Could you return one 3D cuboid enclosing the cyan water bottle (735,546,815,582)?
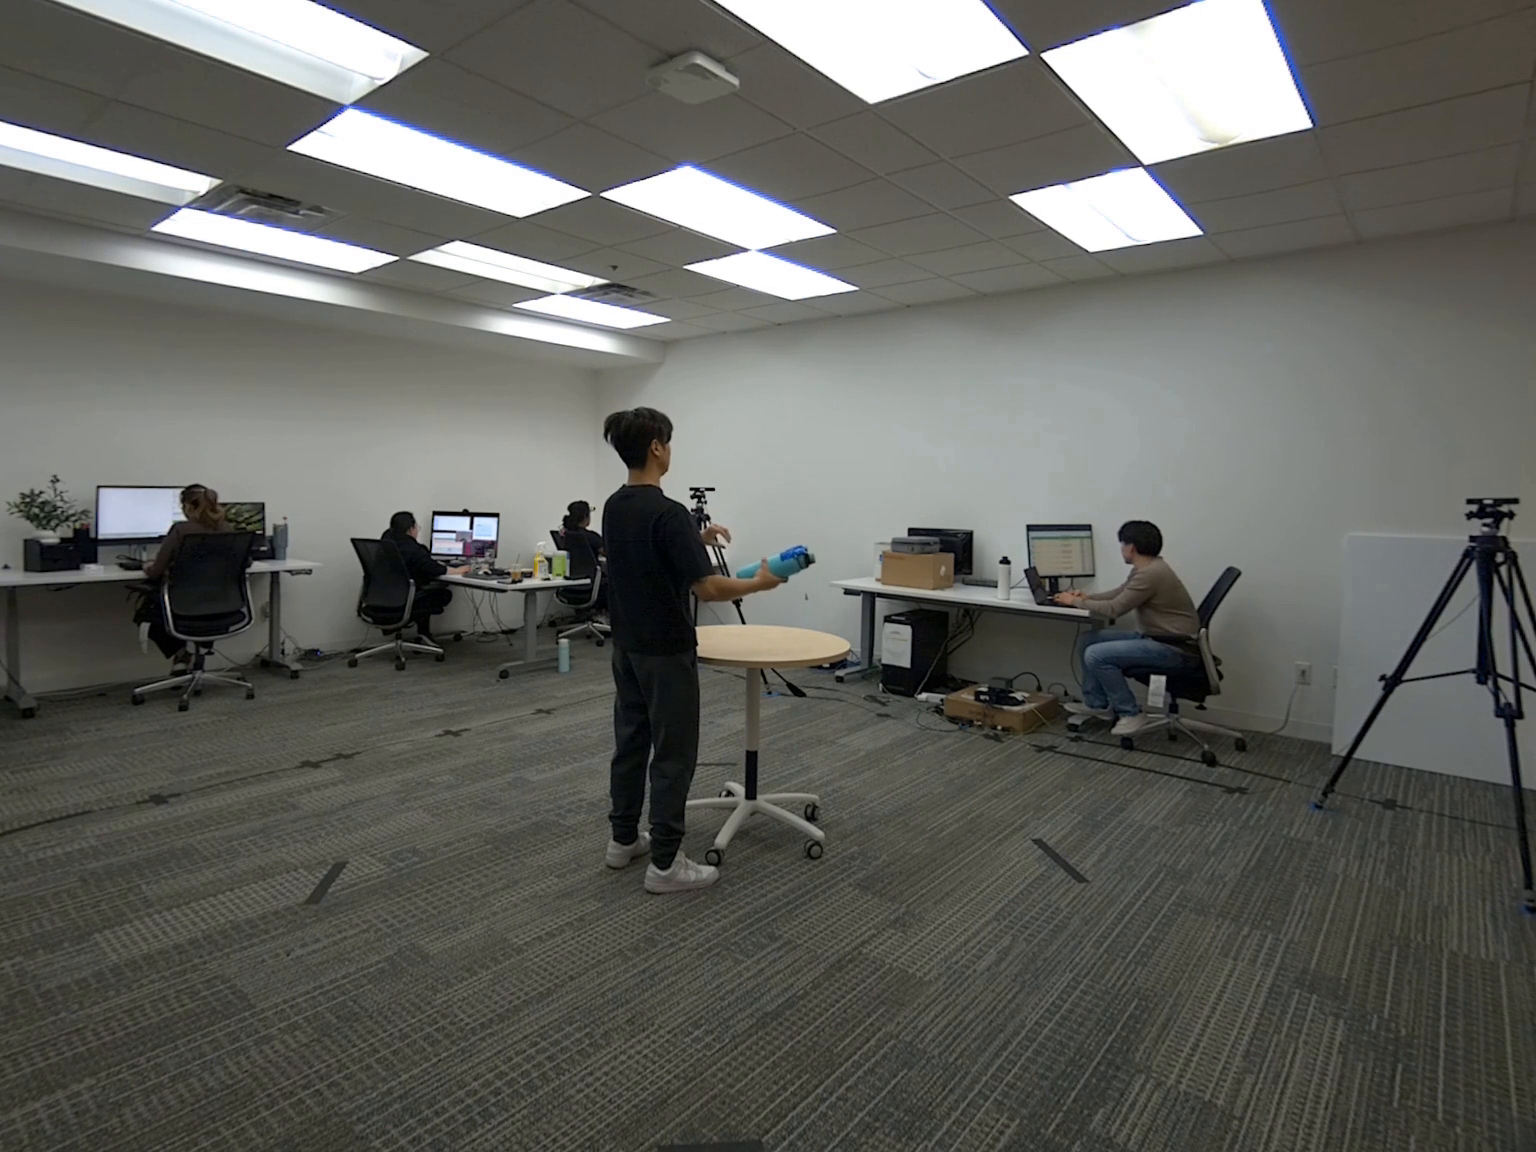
[{"bbox_3d":[0.018,-0.041,3.048,0.285,0.092,0.091,-21,0,11],"label":"cyan water bottle"}]
